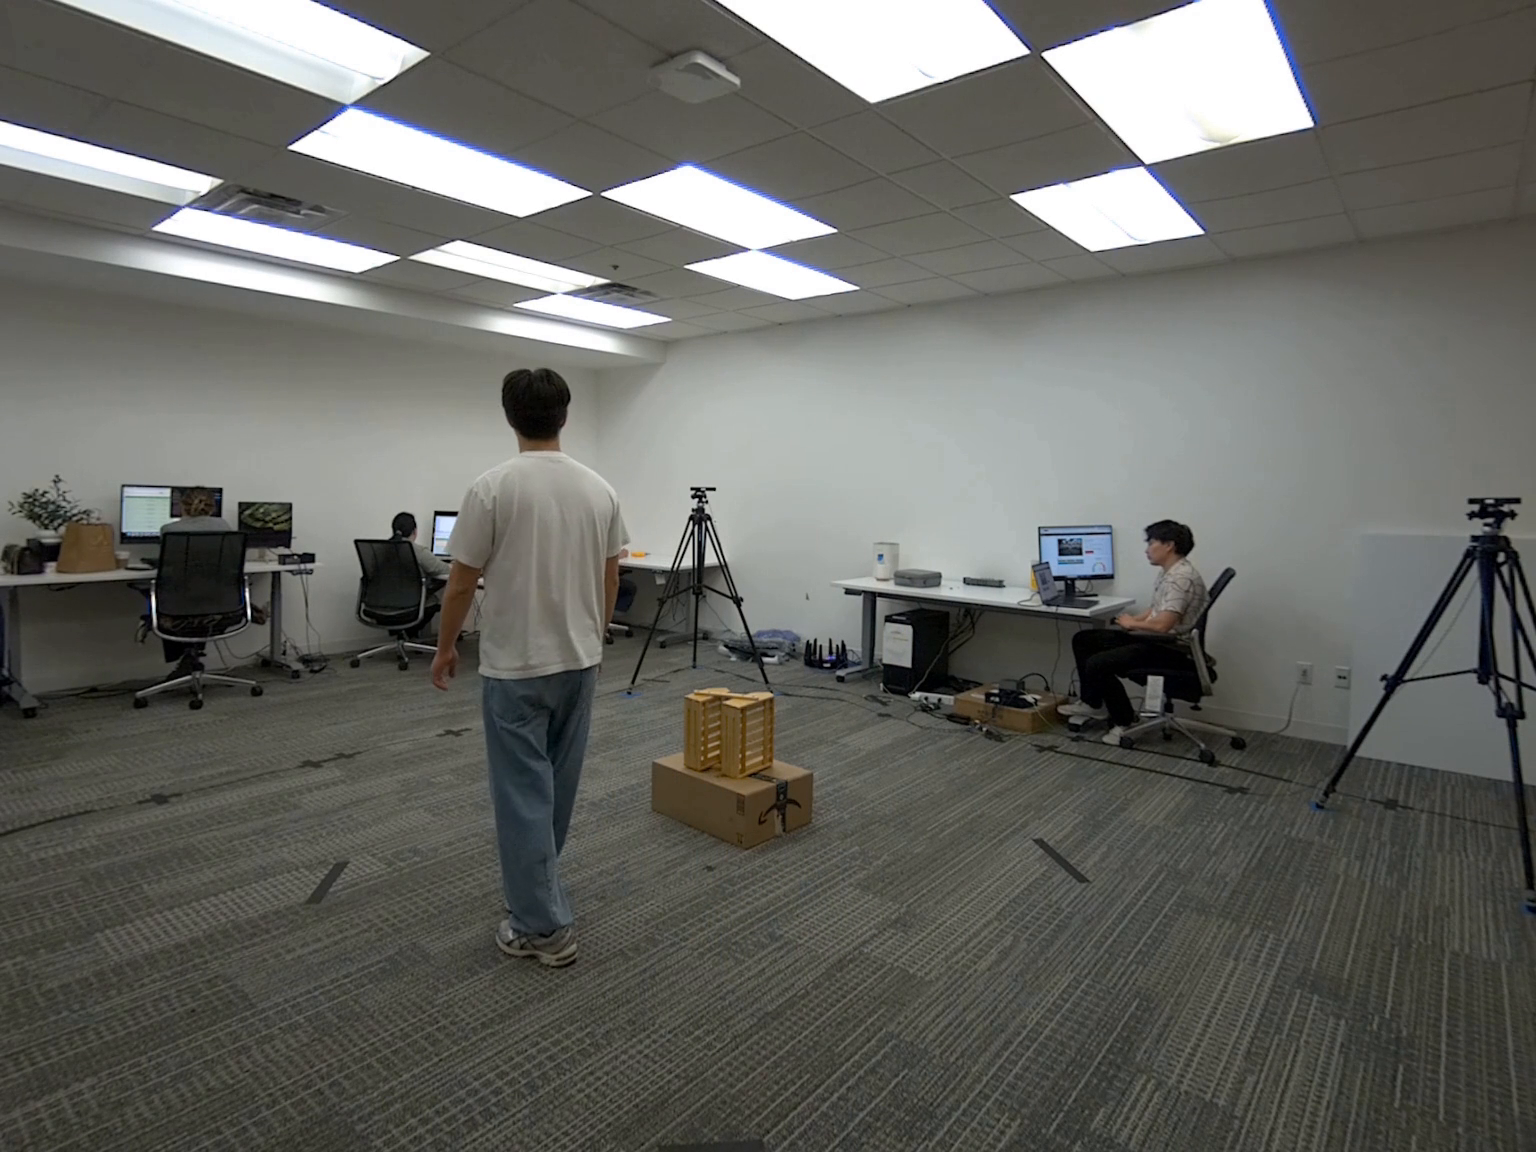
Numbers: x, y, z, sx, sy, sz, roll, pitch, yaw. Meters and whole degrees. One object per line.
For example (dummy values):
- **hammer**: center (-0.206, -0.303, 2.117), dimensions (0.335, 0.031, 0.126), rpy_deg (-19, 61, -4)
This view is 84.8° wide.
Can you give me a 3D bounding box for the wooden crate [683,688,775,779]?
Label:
- **wooden crate**: center (-0.171, 0.644, 3.599), dimensions (0.283, 0.322, 0.294), rpy_deg (8, 11, 40)
